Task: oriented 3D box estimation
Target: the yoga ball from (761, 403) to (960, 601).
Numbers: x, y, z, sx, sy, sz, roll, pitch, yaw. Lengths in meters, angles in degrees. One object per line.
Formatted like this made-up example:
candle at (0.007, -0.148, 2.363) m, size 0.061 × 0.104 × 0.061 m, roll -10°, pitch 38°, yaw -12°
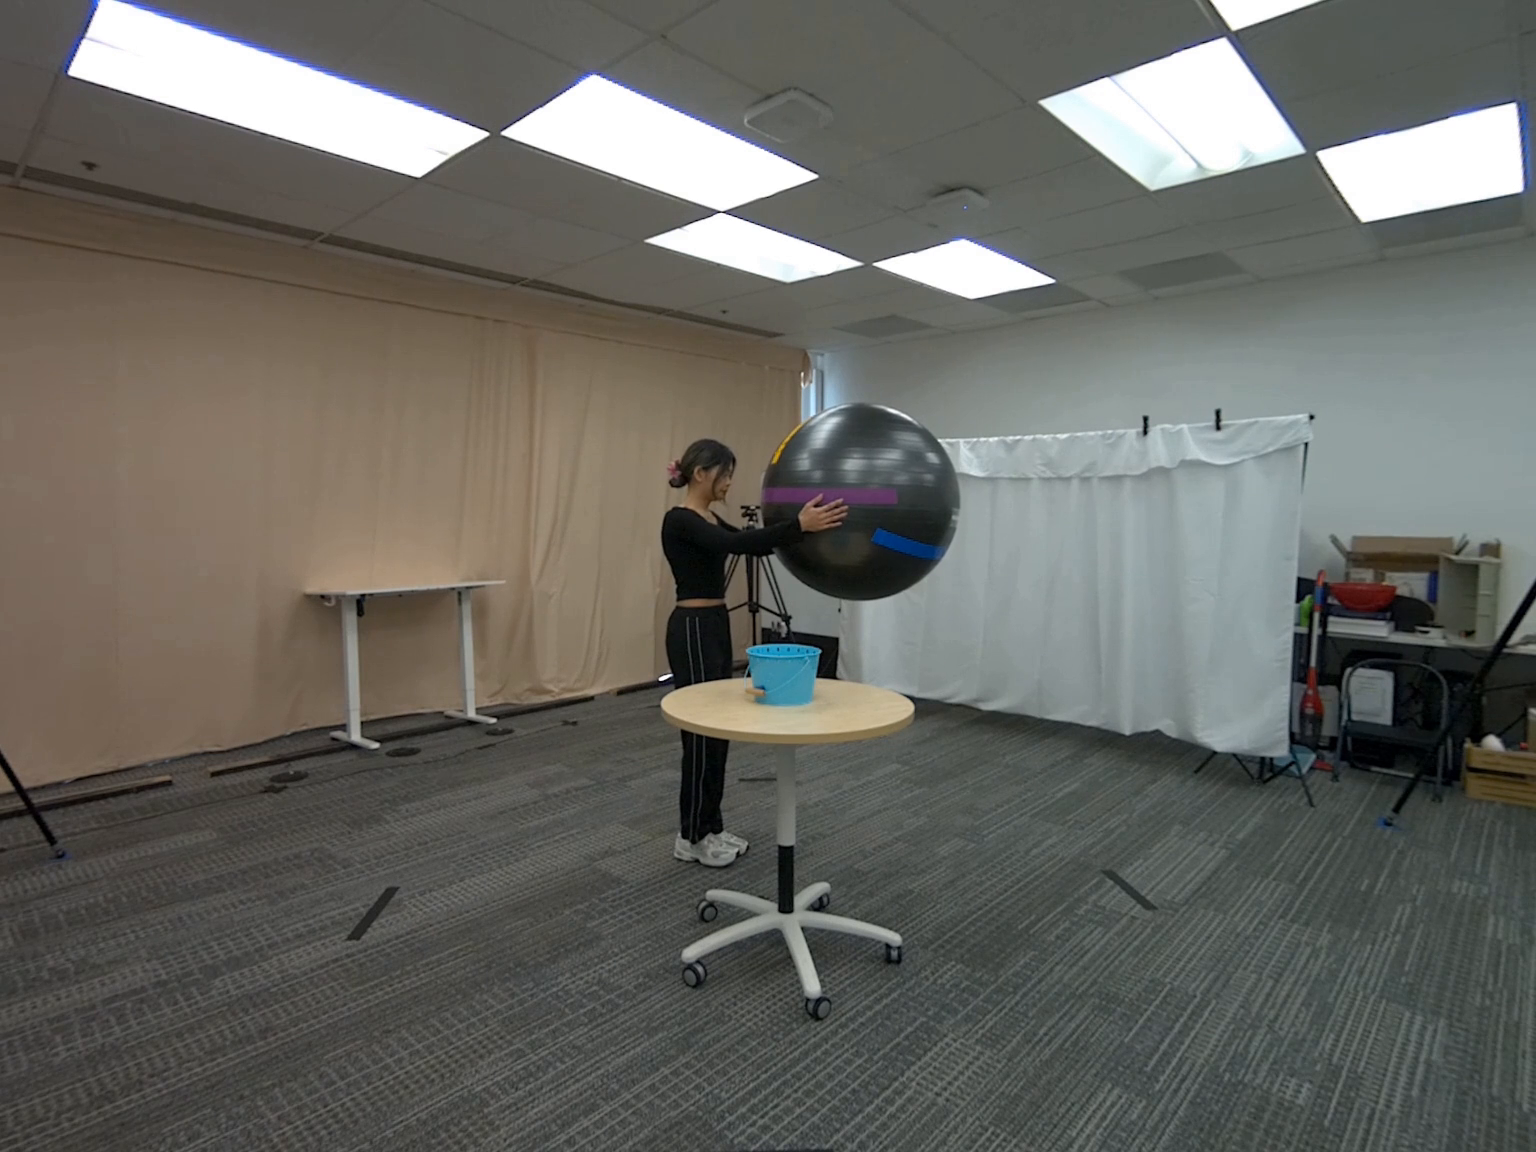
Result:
yoga ball at (0.373, -0.282, 3.264) m, size 0.757 × 0.756 × 0.760 m, roll 0°, pitch 4°, yaw -2°
